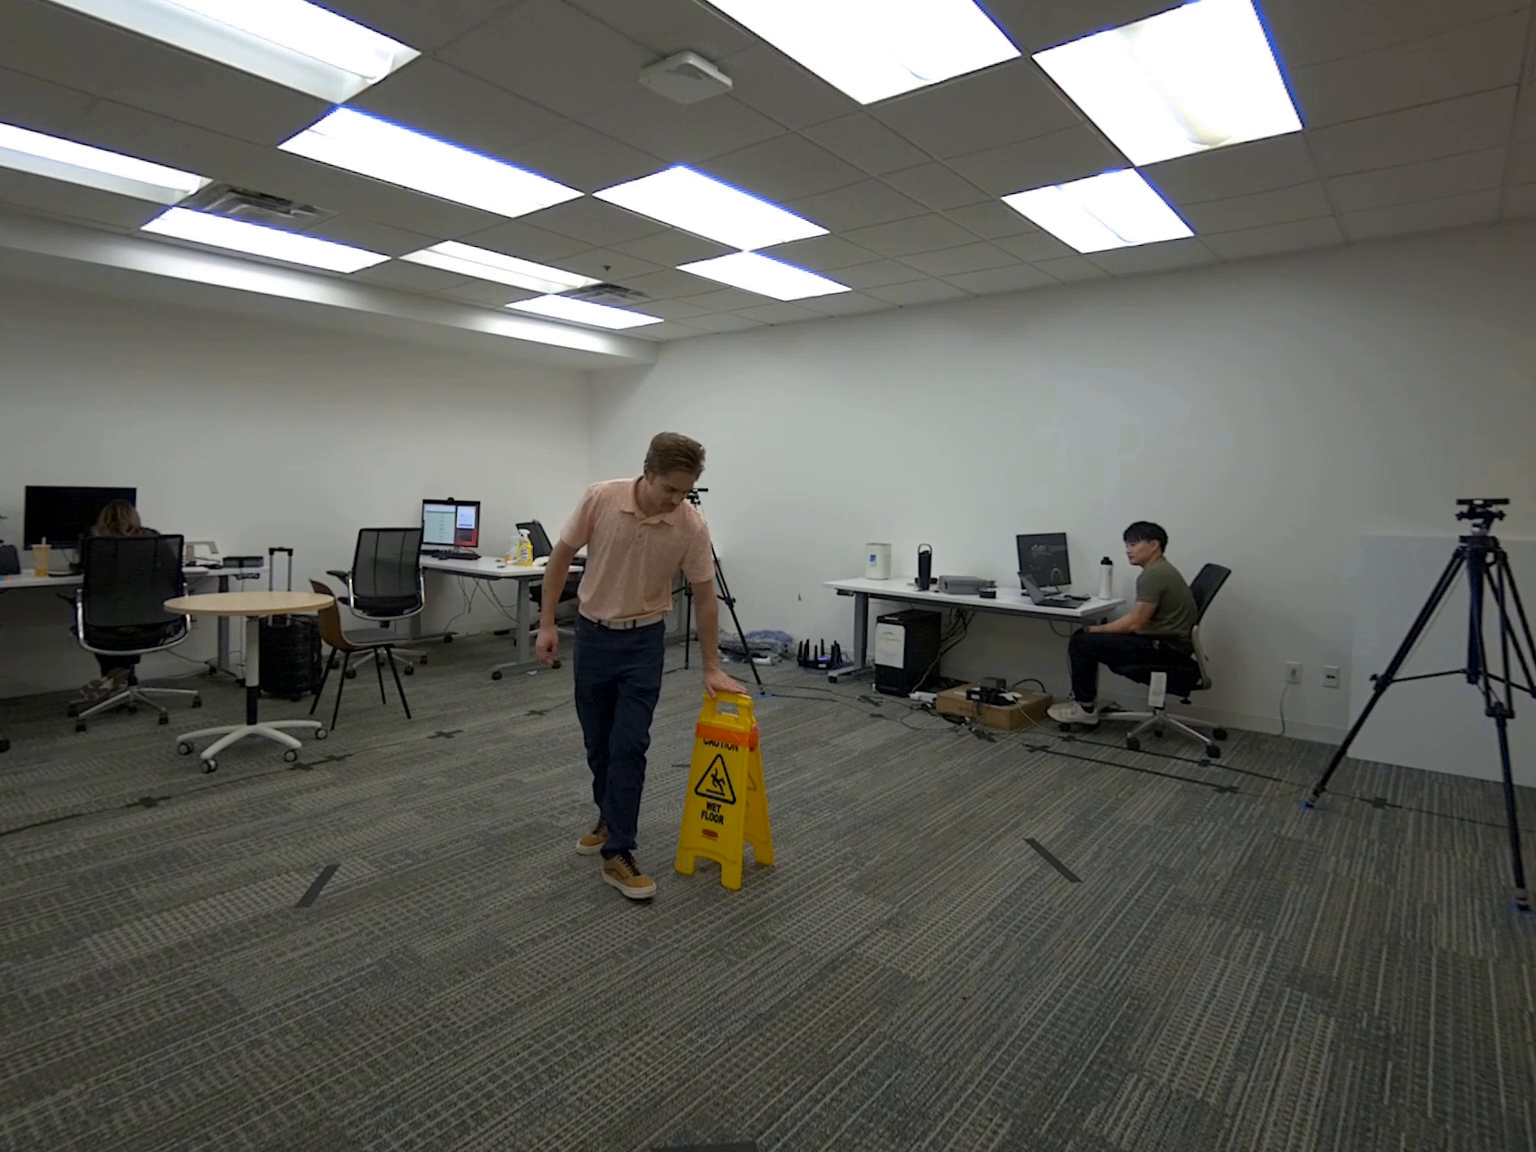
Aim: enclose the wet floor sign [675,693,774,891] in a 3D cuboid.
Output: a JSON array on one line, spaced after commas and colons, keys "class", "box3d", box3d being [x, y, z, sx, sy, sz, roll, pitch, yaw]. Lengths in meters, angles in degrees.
[{"class": "wet floor sign", "box3d": [-0.161, 0.750, 3.100, 0.291, 0.644, 0.282, 2, 4, 31]}]
